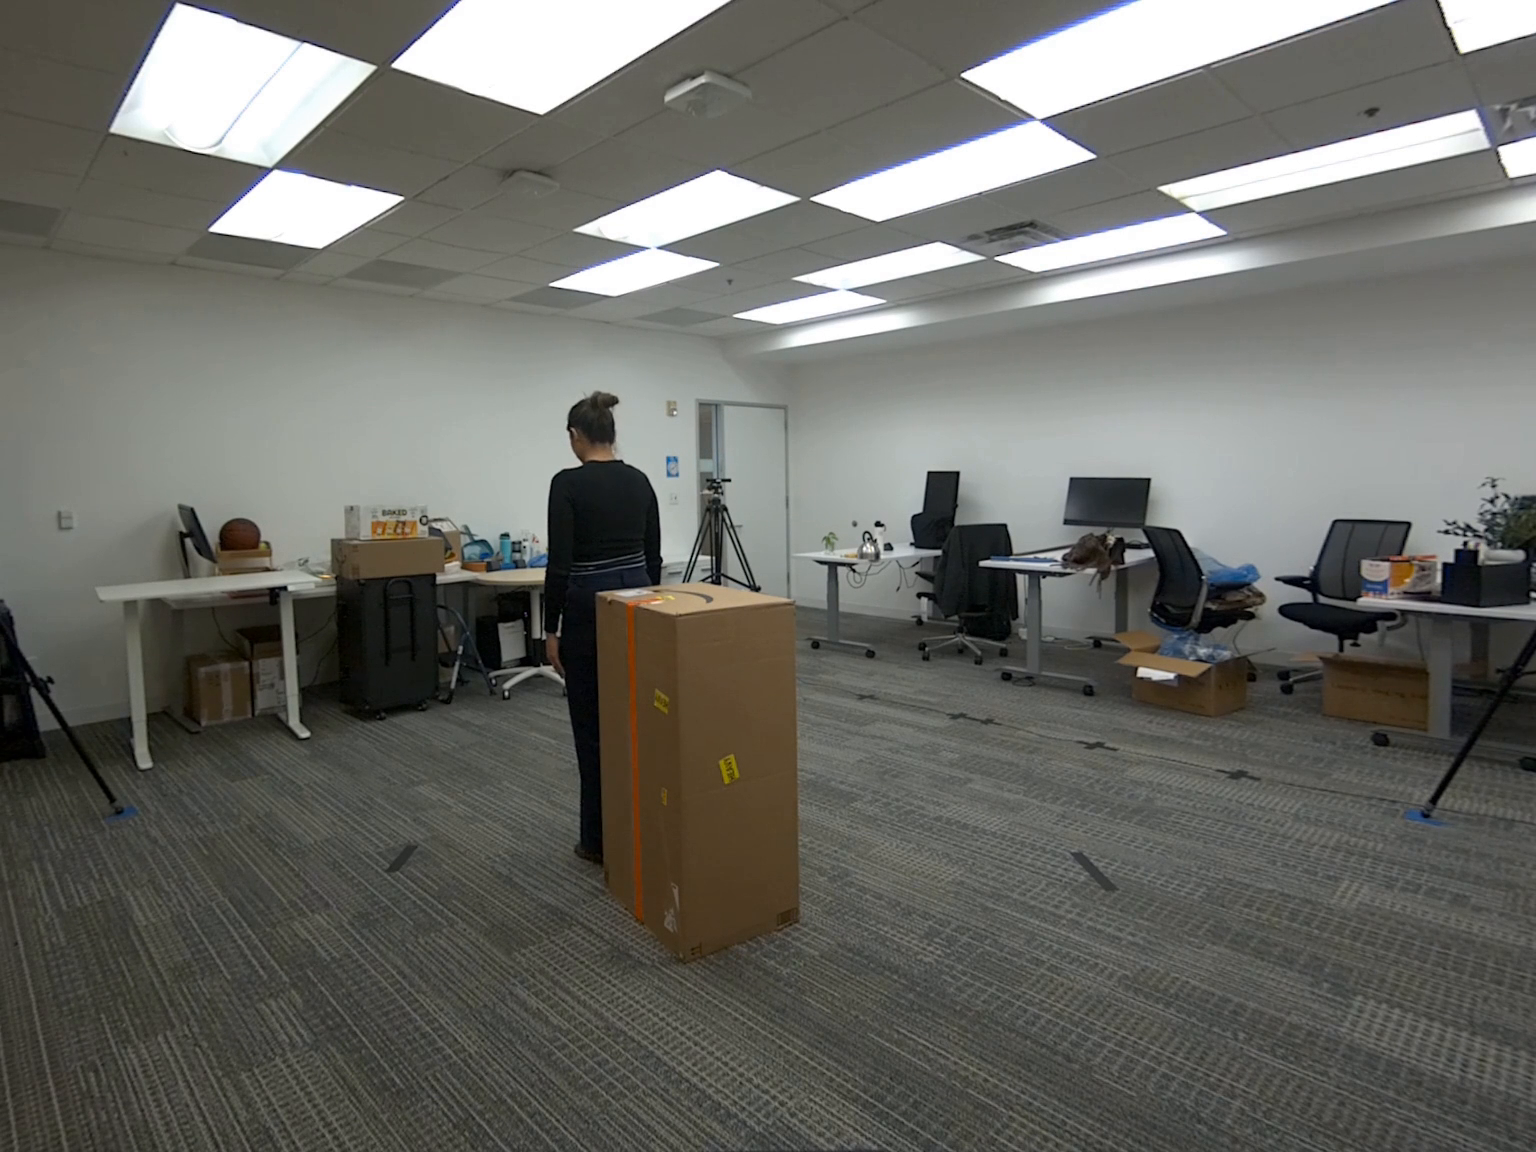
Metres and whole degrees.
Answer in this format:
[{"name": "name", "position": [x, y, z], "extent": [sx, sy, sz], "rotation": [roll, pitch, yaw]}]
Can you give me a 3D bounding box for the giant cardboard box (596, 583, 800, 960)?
[{"name": "giant cardboard box", "position": [-0.236, 0.577, 2.780], "extent": [0.416, 1.022, 0.594], "rotation": [-4, 5, -34]}]
